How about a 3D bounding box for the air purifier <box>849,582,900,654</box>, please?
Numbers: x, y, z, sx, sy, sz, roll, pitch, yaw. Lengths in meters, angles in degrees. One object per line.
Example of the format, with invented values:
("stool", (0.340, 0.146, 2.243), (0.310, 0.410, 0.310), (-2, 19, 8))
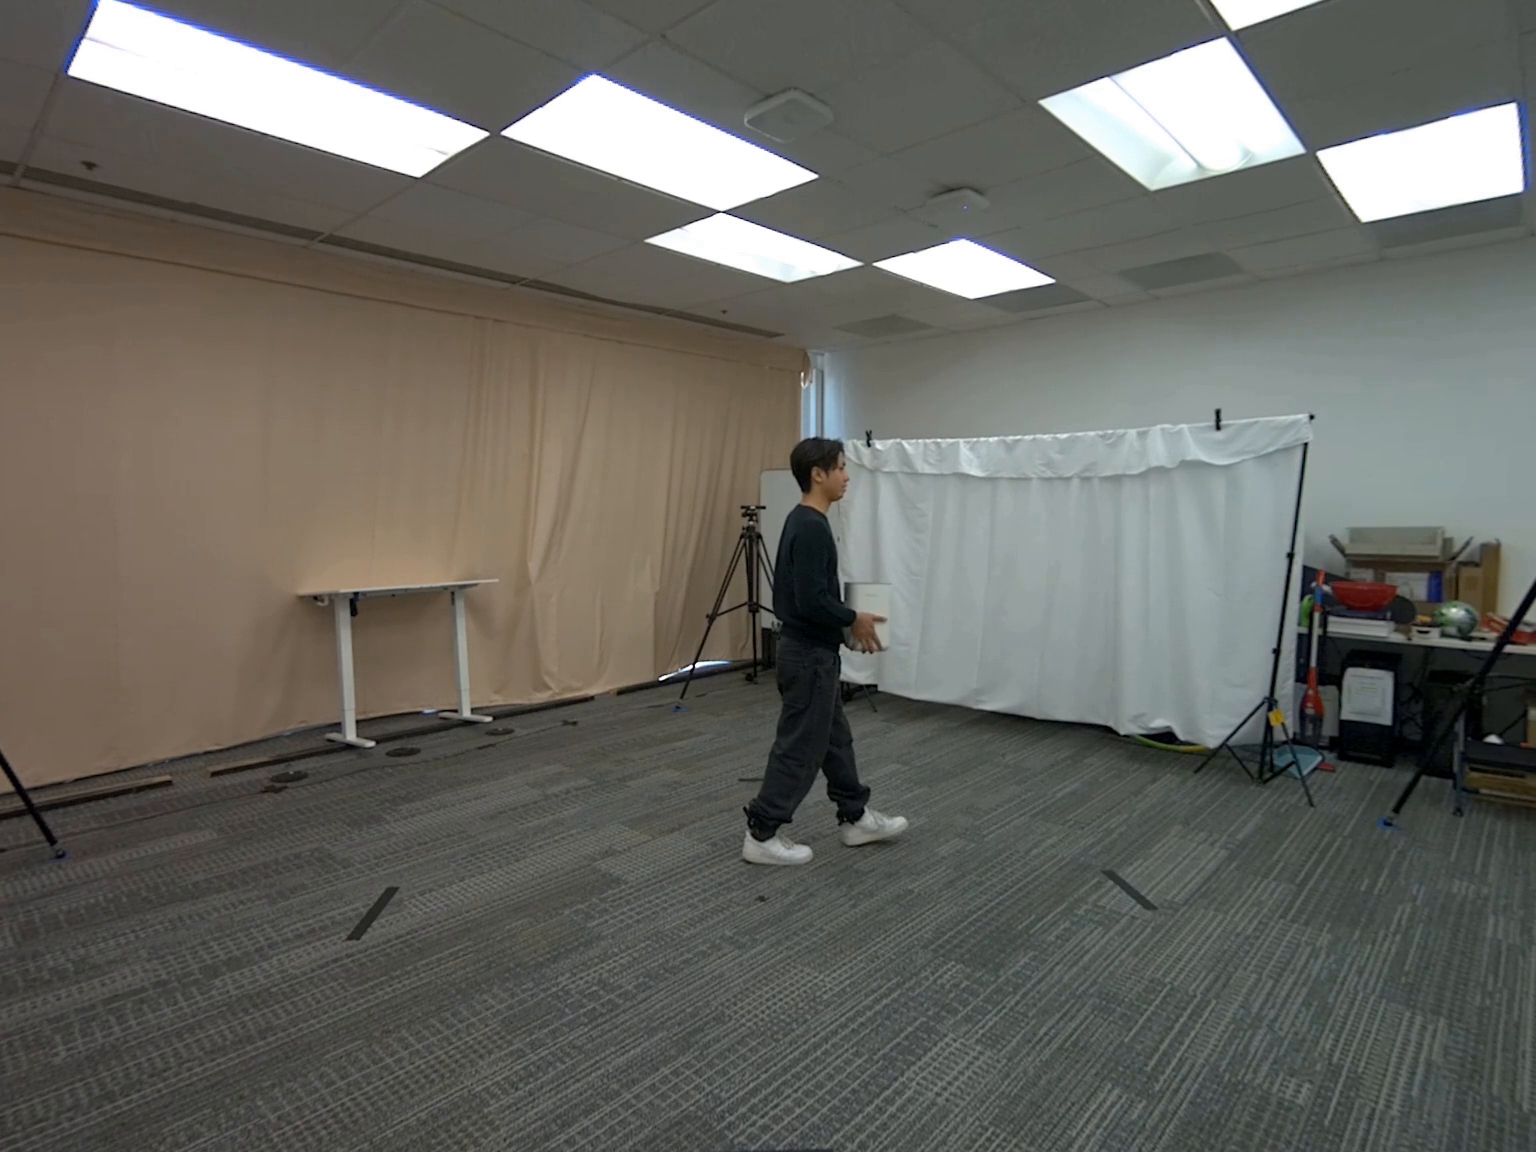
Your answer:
("air purifier", (0.409, 0.157, 3.288), (0.171, 0.266, 0.171), (0, -3, 2))
